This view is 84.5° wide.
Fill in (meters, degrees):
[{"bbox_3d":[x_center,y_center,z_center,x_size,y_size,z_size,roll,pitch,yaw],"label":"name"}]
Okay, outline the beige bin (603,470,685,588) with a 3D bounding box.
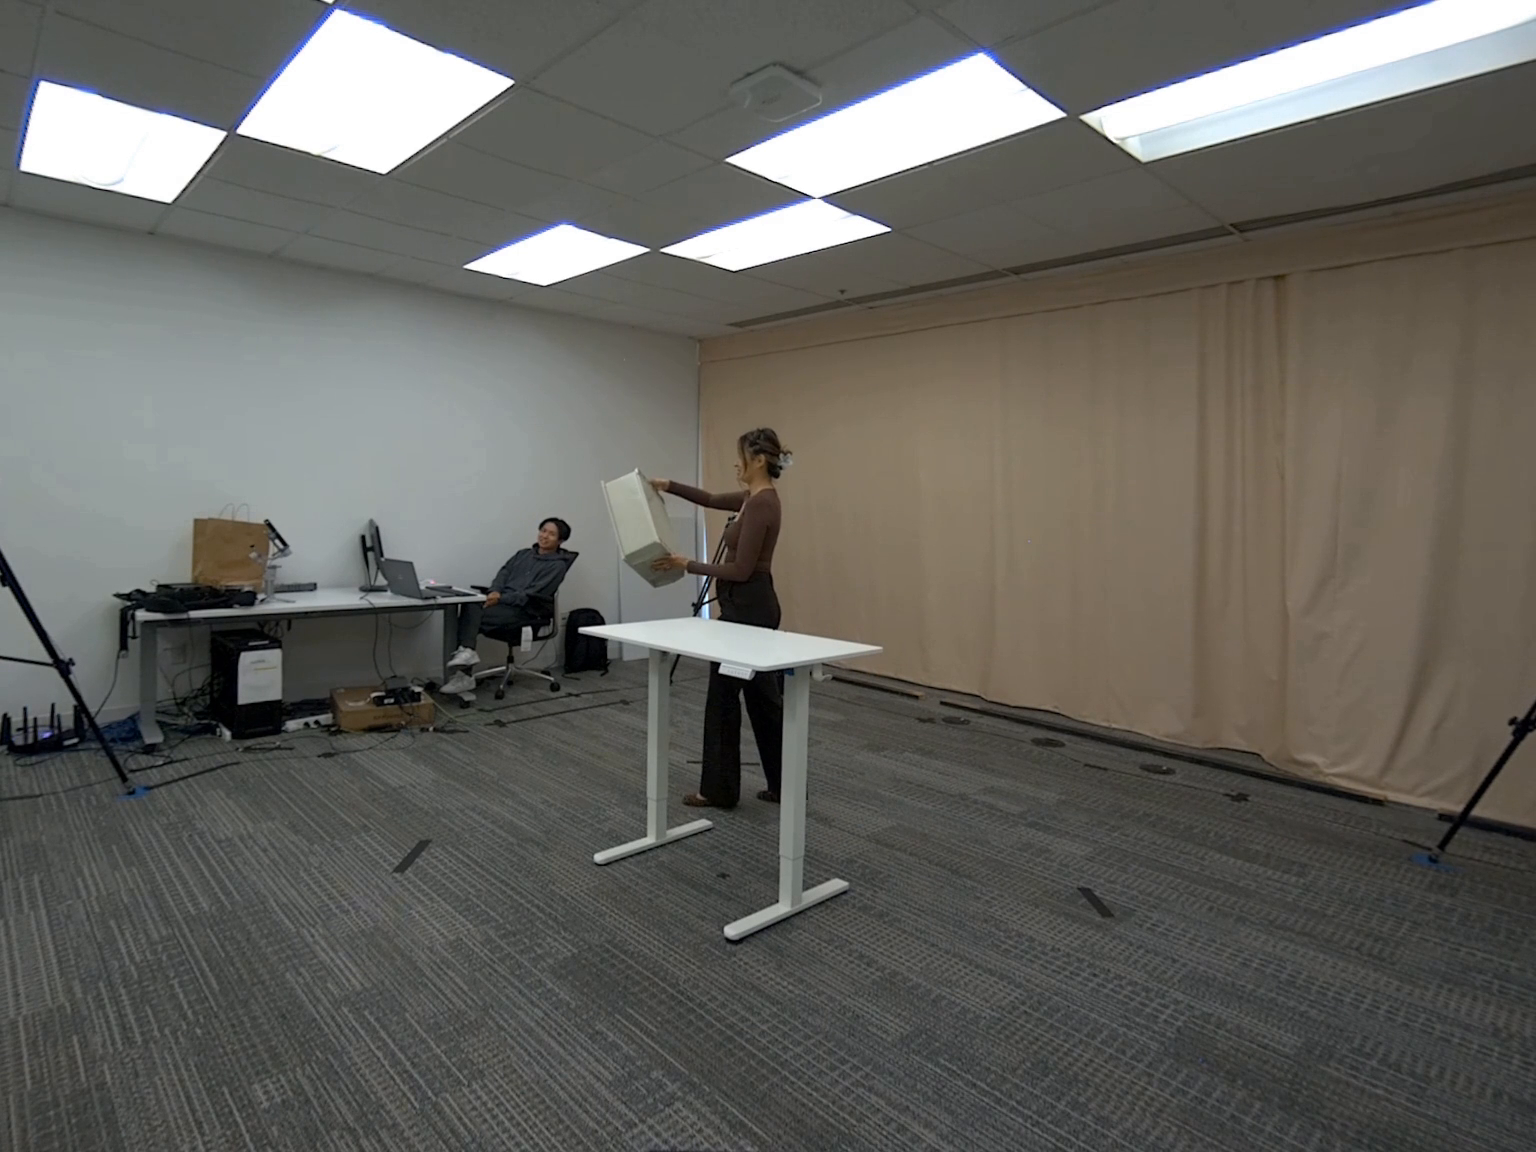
[{"bbox_3d":[-0.556,-0.212,3.824,0.189,0.433,0.367,-23,-28,5],"label":"beige bin"}]
